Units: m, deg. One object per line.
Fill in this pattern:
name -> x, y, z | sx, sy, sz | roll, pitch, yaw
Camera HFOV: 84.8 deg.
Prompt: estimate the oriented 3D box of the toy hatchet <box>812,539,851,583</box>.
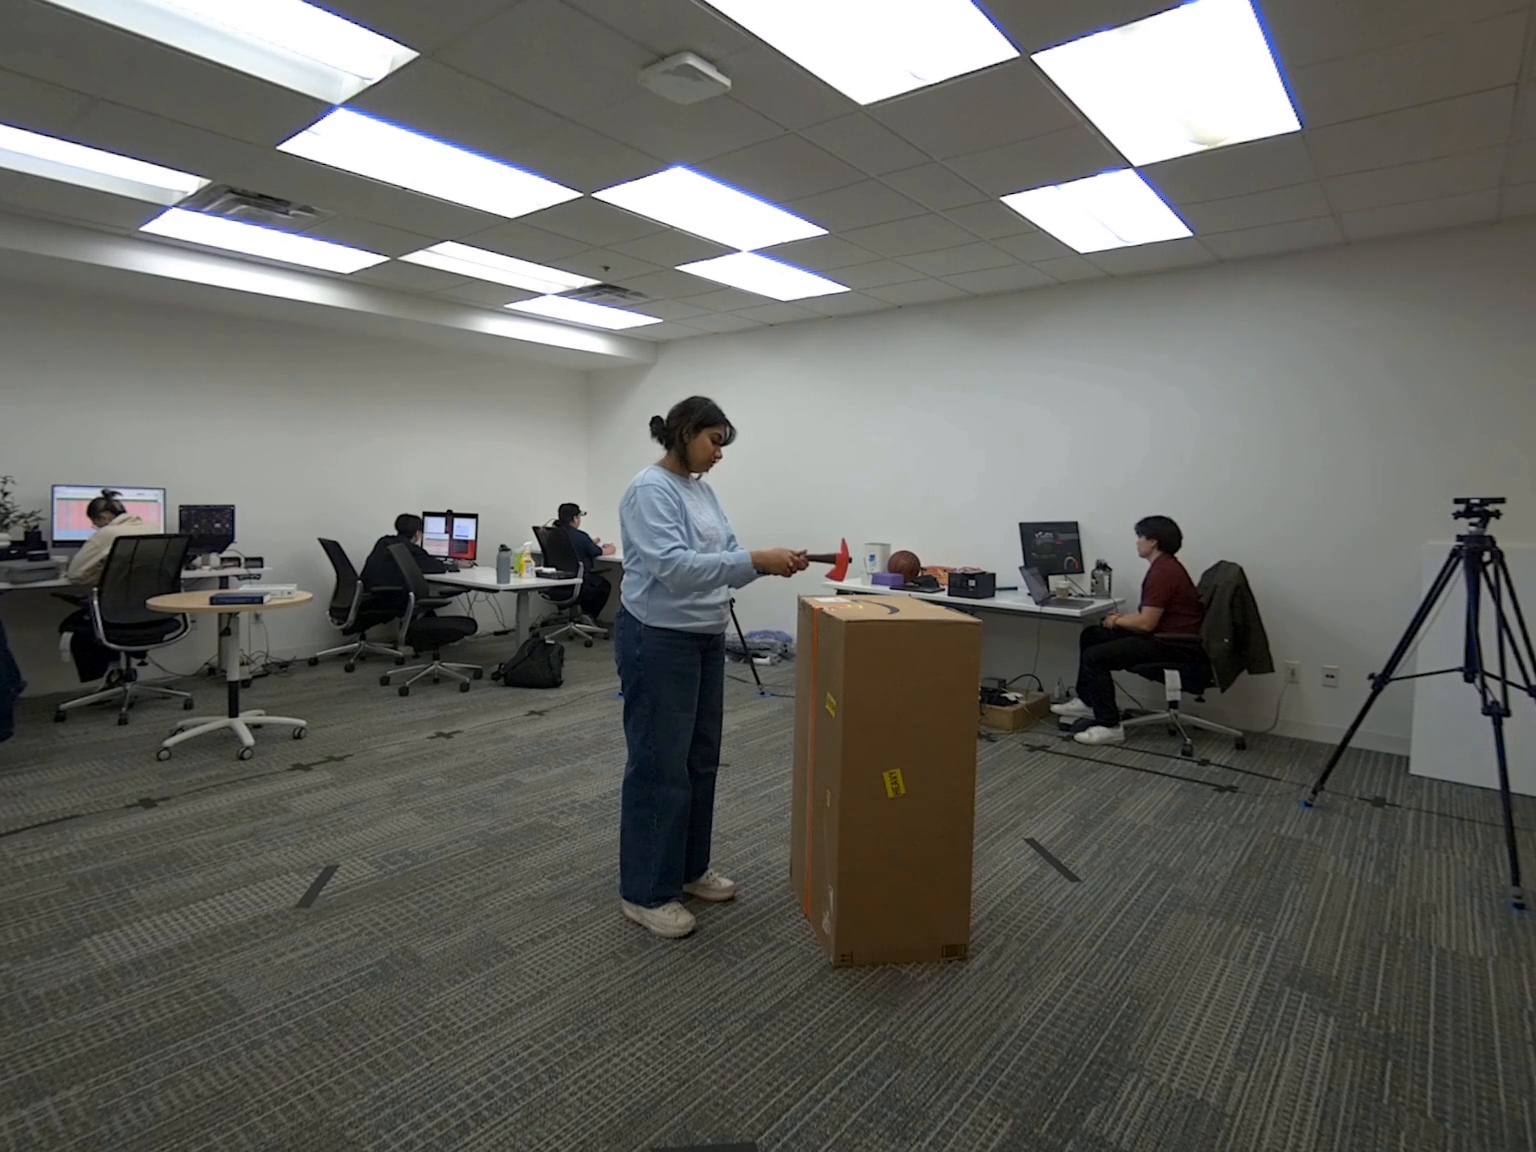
toy hatchet -> 0.118, -0.028, 2.613 | 0.270, 0.129, 0.030 | -17, 9, 3
